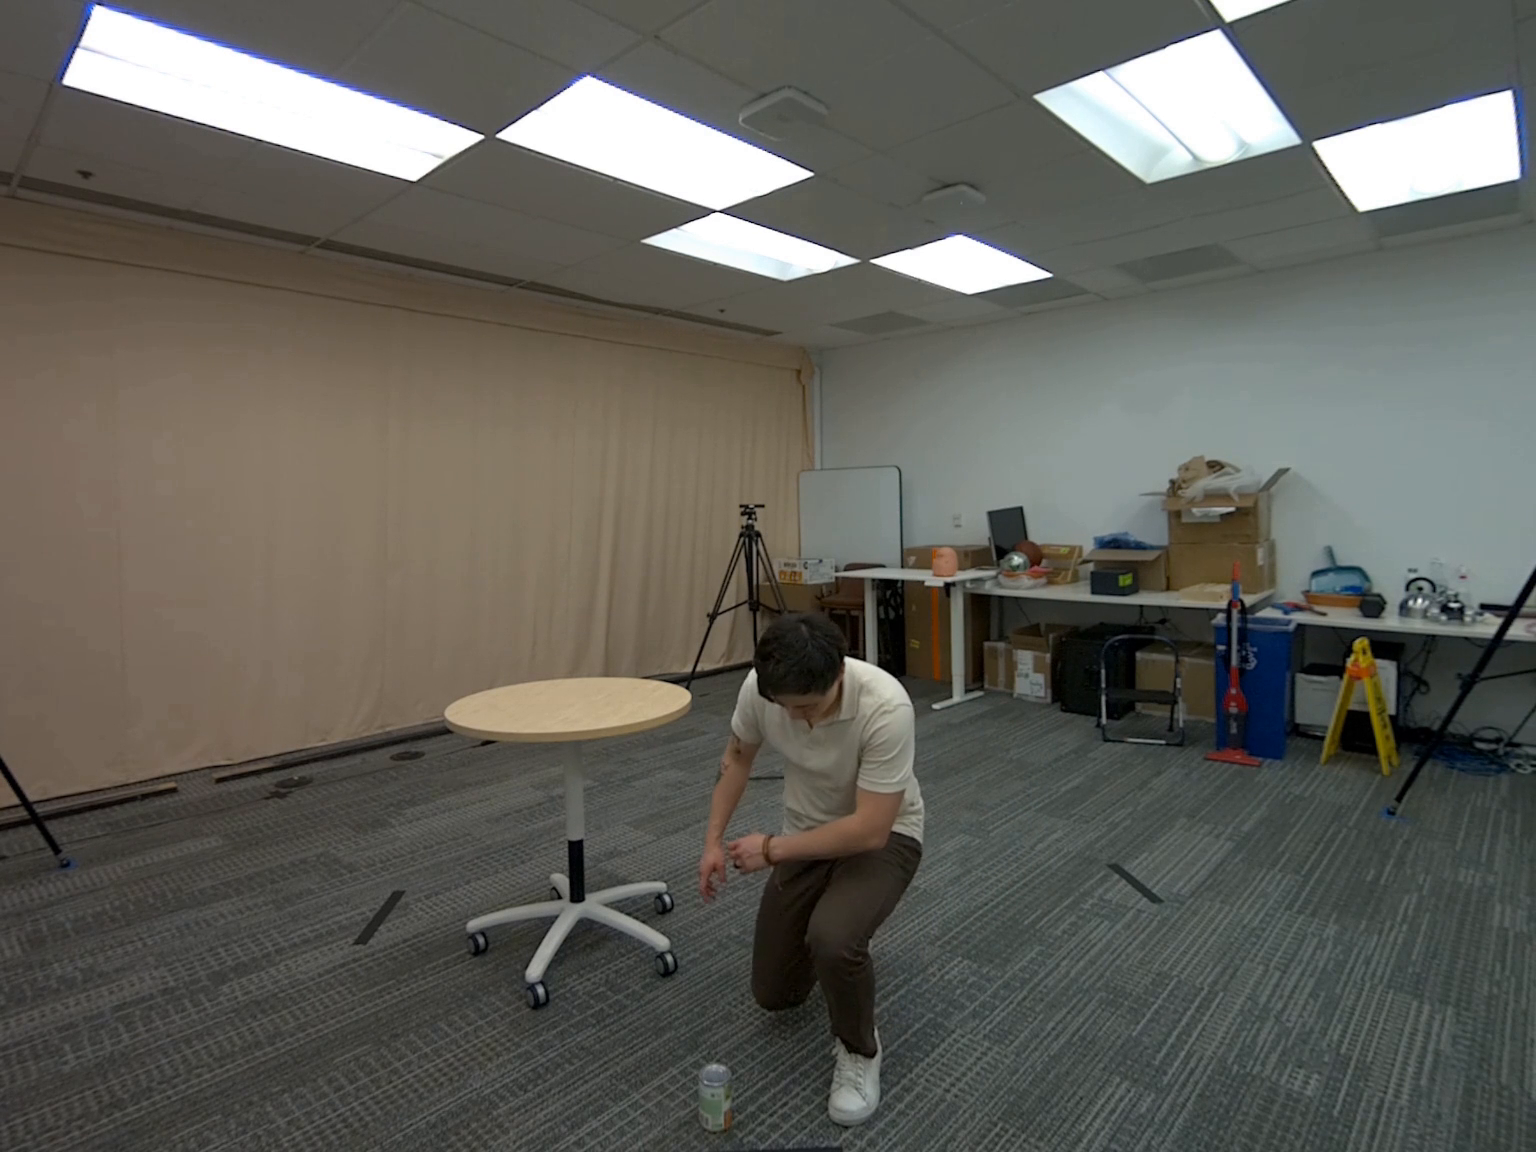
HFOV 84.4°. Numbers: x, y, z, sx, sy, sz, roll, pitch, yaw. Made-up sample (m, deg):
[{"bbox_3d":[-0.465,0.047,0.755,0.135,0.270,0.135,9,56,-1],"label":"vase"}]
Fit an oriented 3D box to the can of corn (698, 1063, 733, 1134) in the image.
[{"bbox_3d":[-0.113,1.185,1.898,0.074,0.111,0.074,1,5,-2],"label":"can of corn"}]
